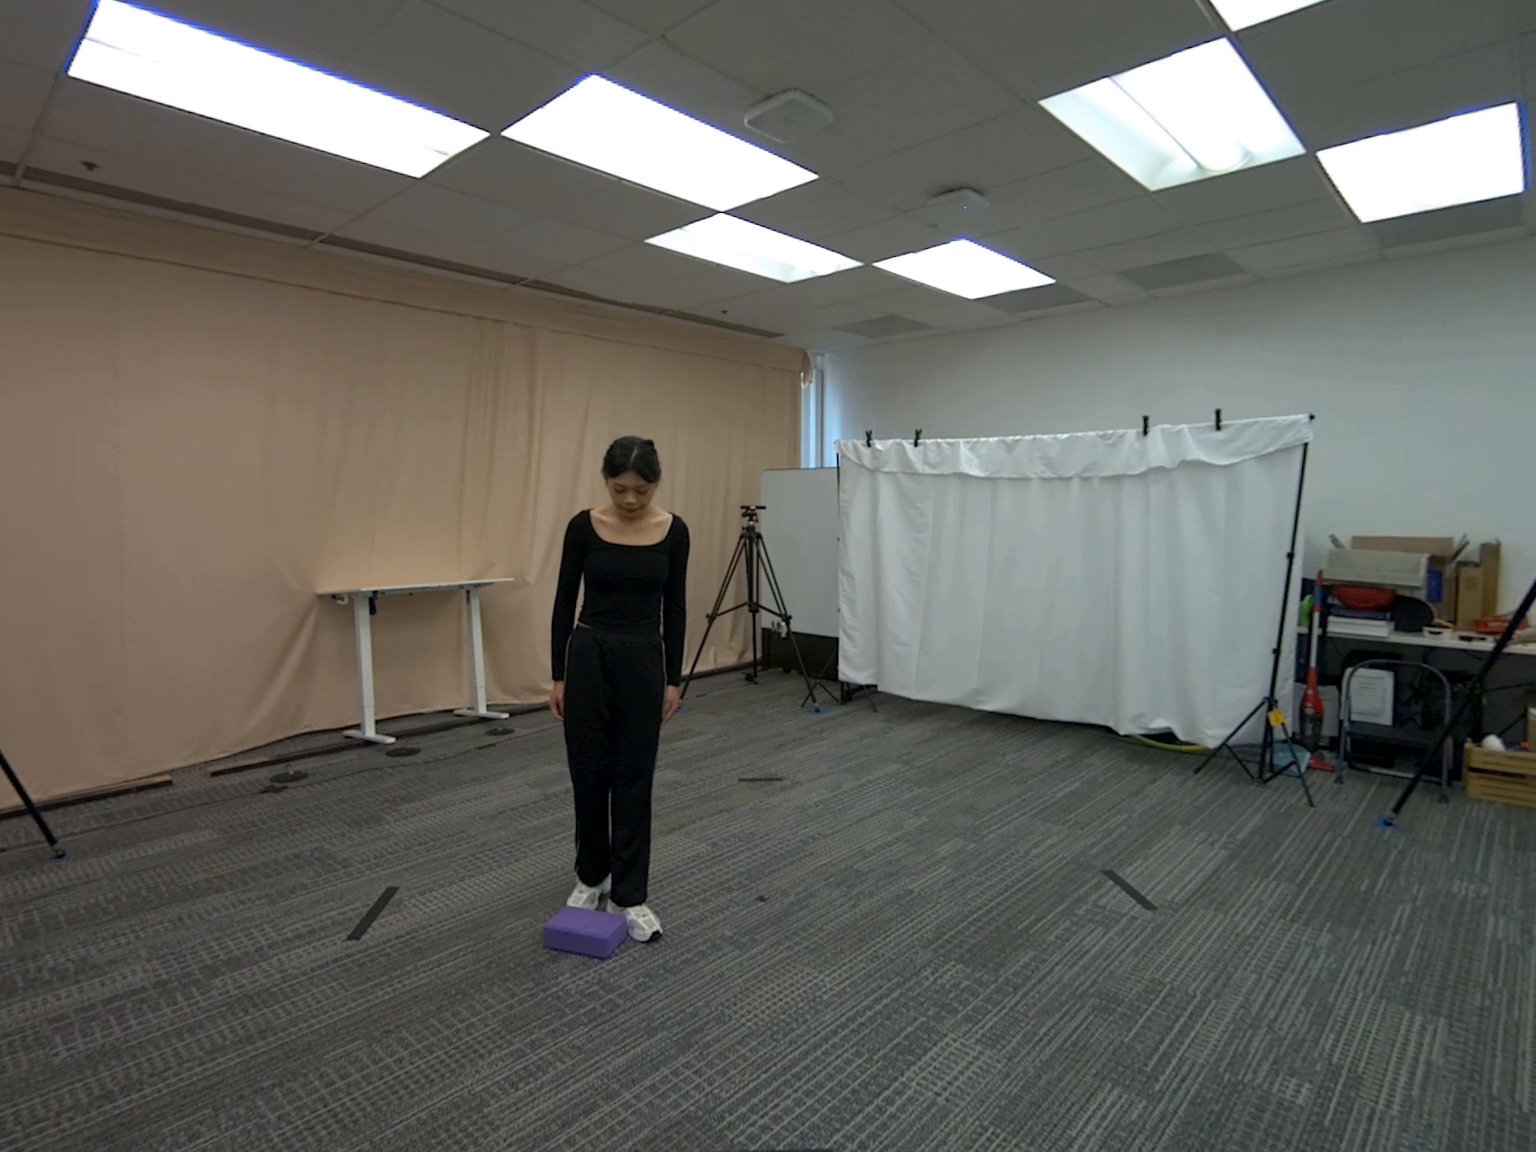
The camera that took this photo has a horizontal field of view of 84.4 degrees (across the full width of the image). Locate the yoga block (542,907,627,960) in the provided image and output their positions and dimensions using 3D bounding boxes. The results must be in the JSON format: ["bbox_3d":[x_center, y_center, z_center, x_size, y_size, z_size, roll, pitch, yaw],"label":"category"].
[{"bbox_3d":[-0.573,1.123,2.690,0.234,0.076,0.146,2,5,20],"label":"yoga block"}]
